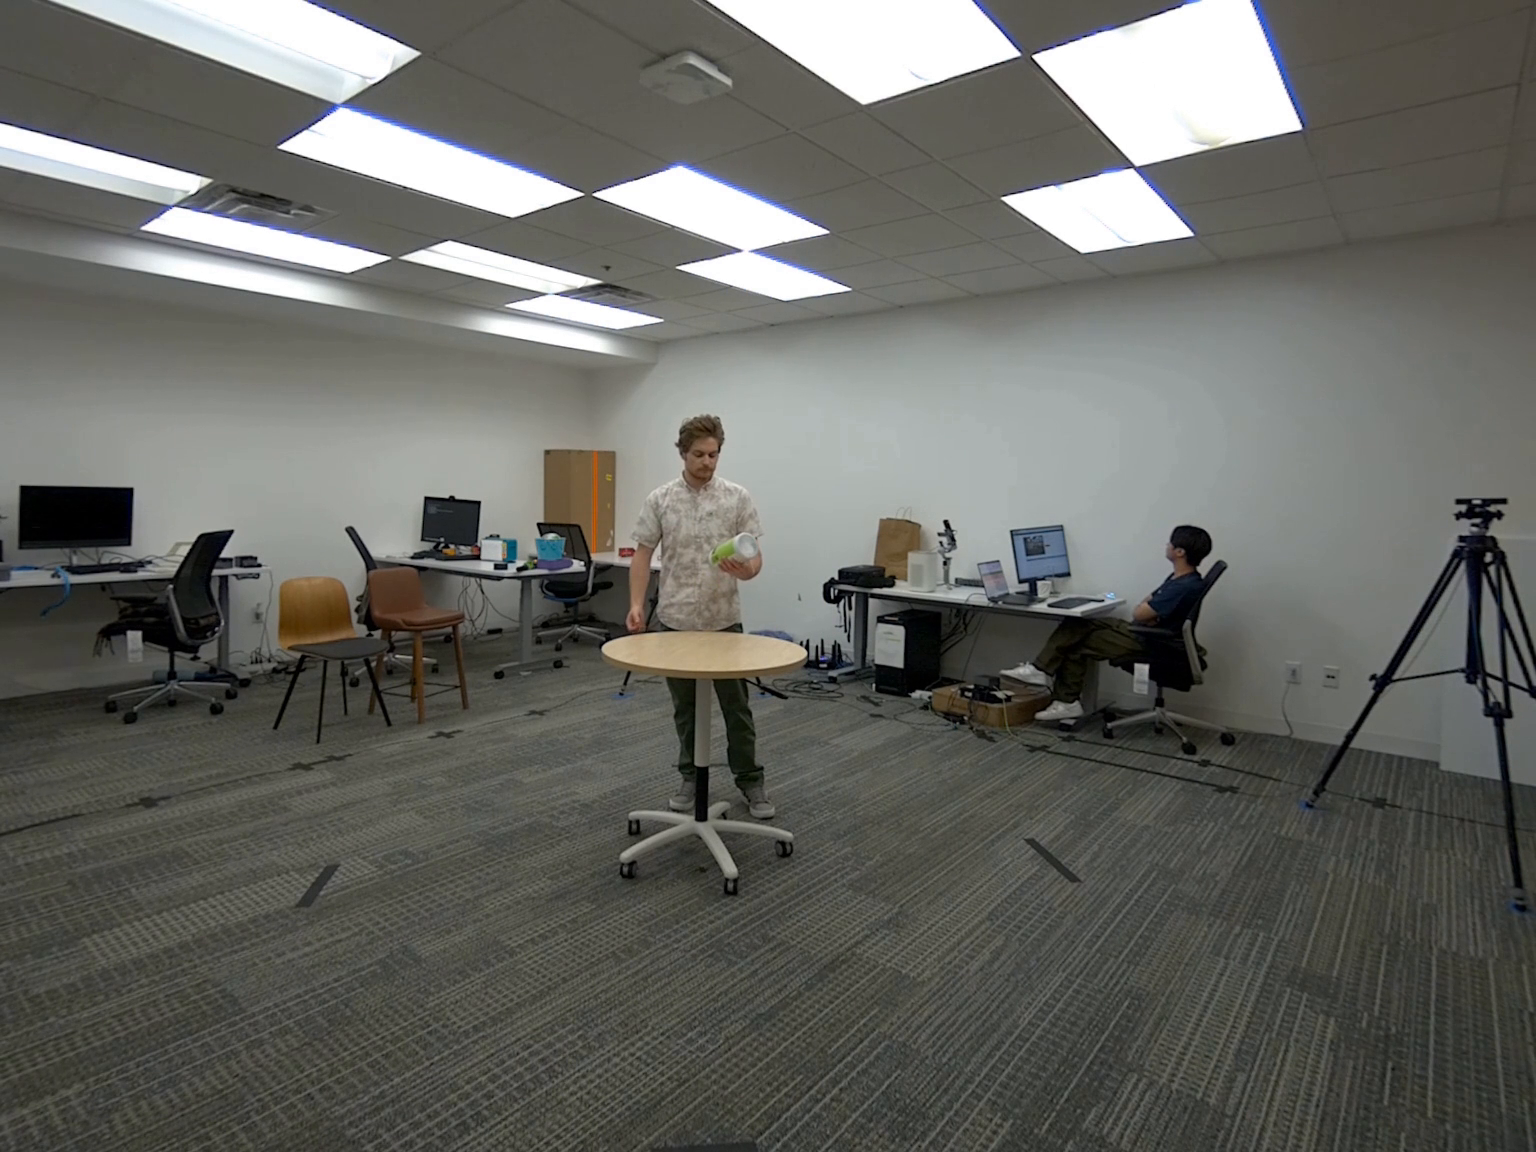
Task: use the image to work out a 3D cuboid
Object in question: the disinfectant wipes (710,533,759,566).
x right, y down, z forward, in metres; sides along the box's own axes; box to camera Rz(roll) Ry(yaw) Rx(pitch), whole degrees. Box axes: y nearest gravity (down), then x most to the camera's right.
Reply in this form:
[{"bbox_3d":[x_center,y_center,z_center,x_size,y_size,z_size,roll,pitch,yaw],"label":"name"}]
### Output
[{"bbox_3d":[-0.149,-0.102,3.459,0.114,0.119,0.220,-1,-15,-33],"label":"disinfectant wipes"}]
